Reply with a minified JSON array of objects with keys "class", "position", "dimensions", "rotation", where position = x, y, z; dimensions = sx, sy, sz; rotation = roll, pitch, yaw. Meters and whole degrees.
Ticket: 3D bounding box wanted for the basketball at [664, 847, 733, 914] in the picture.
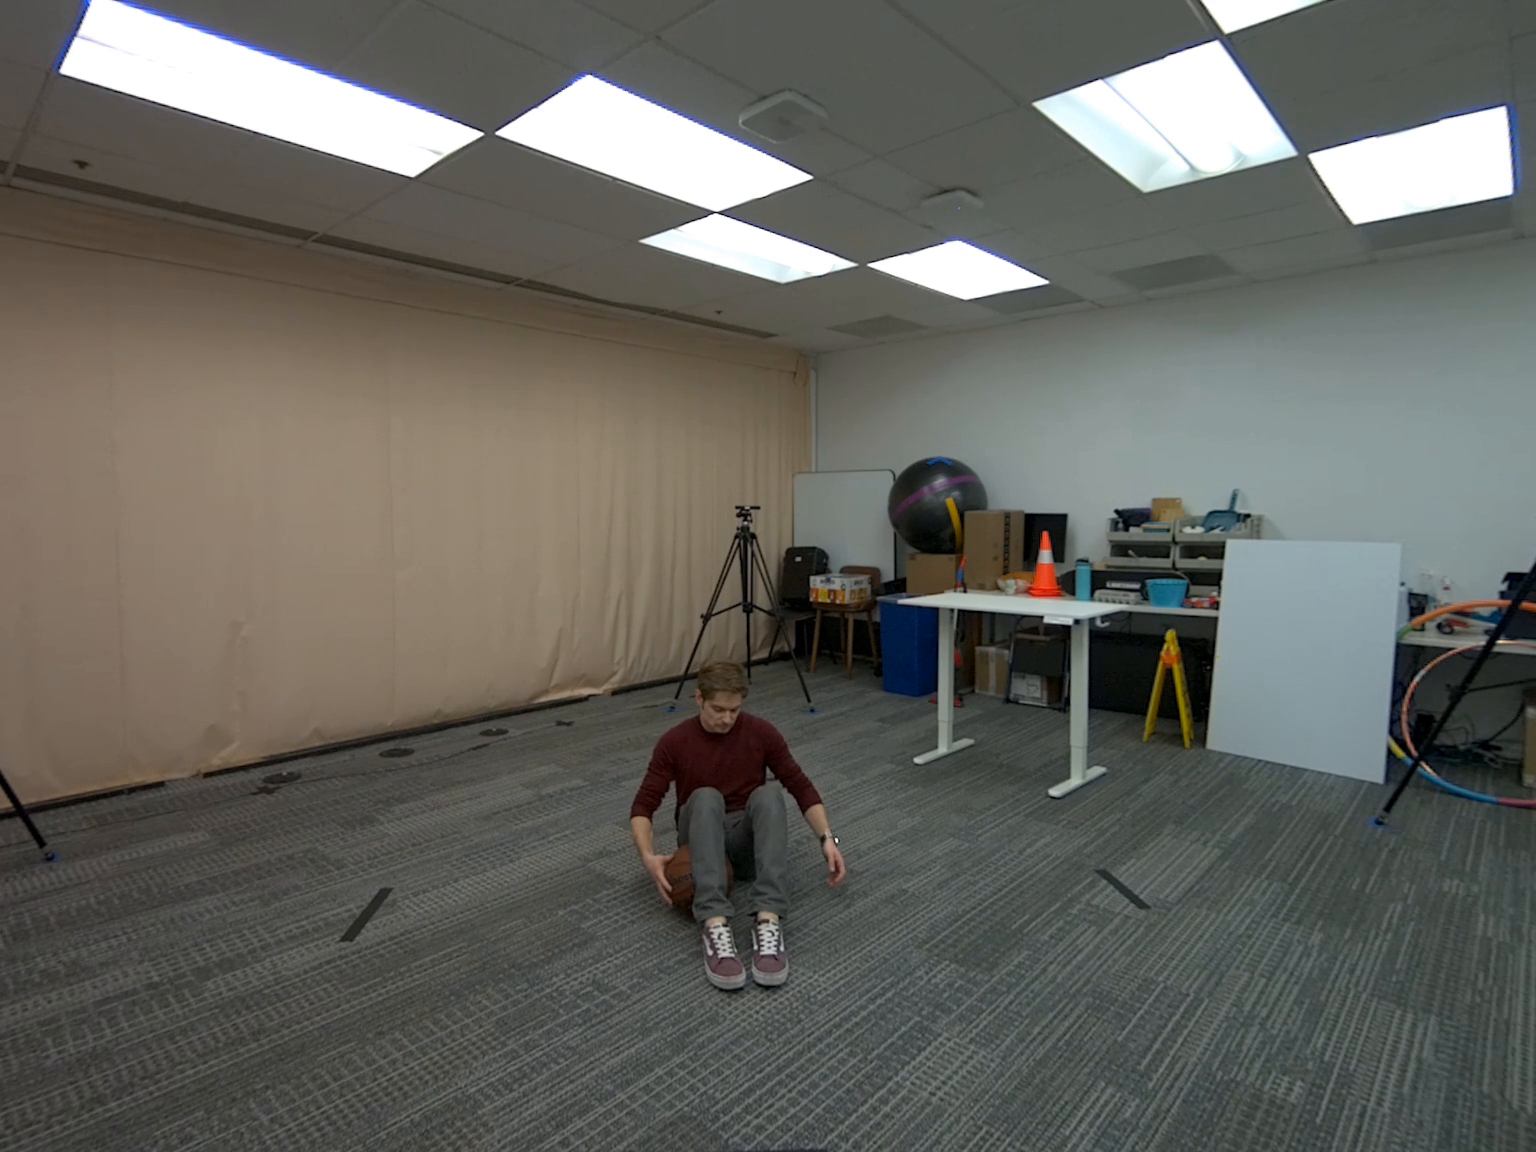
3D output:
[{"class":"basketball","position":[-0.231,1.035,2.887],"dimensions":[0.236,0.235,0.237],"rotation":[0,4,-2]}]
